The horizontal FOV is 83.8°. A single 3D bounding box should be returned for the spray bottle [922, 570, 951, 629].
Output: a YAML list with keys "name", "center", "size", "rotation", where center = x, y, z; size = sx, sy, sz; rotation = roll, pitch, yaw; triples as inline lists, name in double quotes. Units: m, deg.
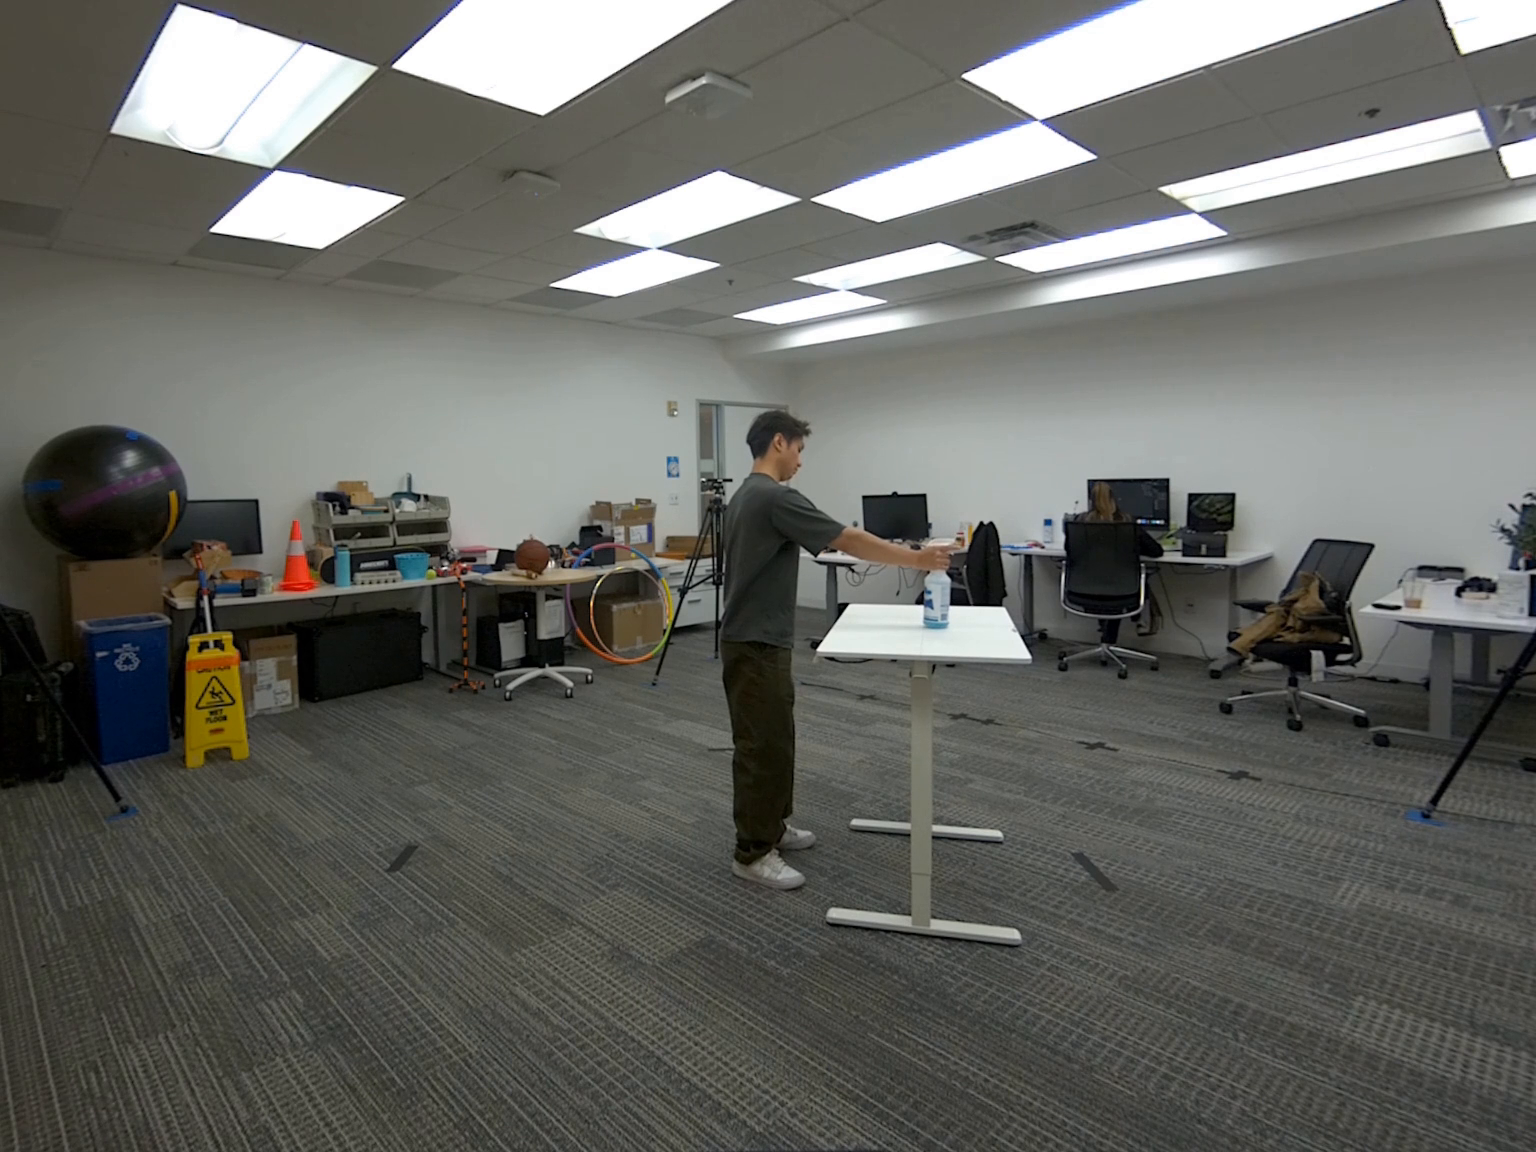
- name: "spray bottle"
  center: [0.573, 0.022, 2.889]
  size: [0.093, 0.296, 0.085]
  rotation: [3, 4, 37]
